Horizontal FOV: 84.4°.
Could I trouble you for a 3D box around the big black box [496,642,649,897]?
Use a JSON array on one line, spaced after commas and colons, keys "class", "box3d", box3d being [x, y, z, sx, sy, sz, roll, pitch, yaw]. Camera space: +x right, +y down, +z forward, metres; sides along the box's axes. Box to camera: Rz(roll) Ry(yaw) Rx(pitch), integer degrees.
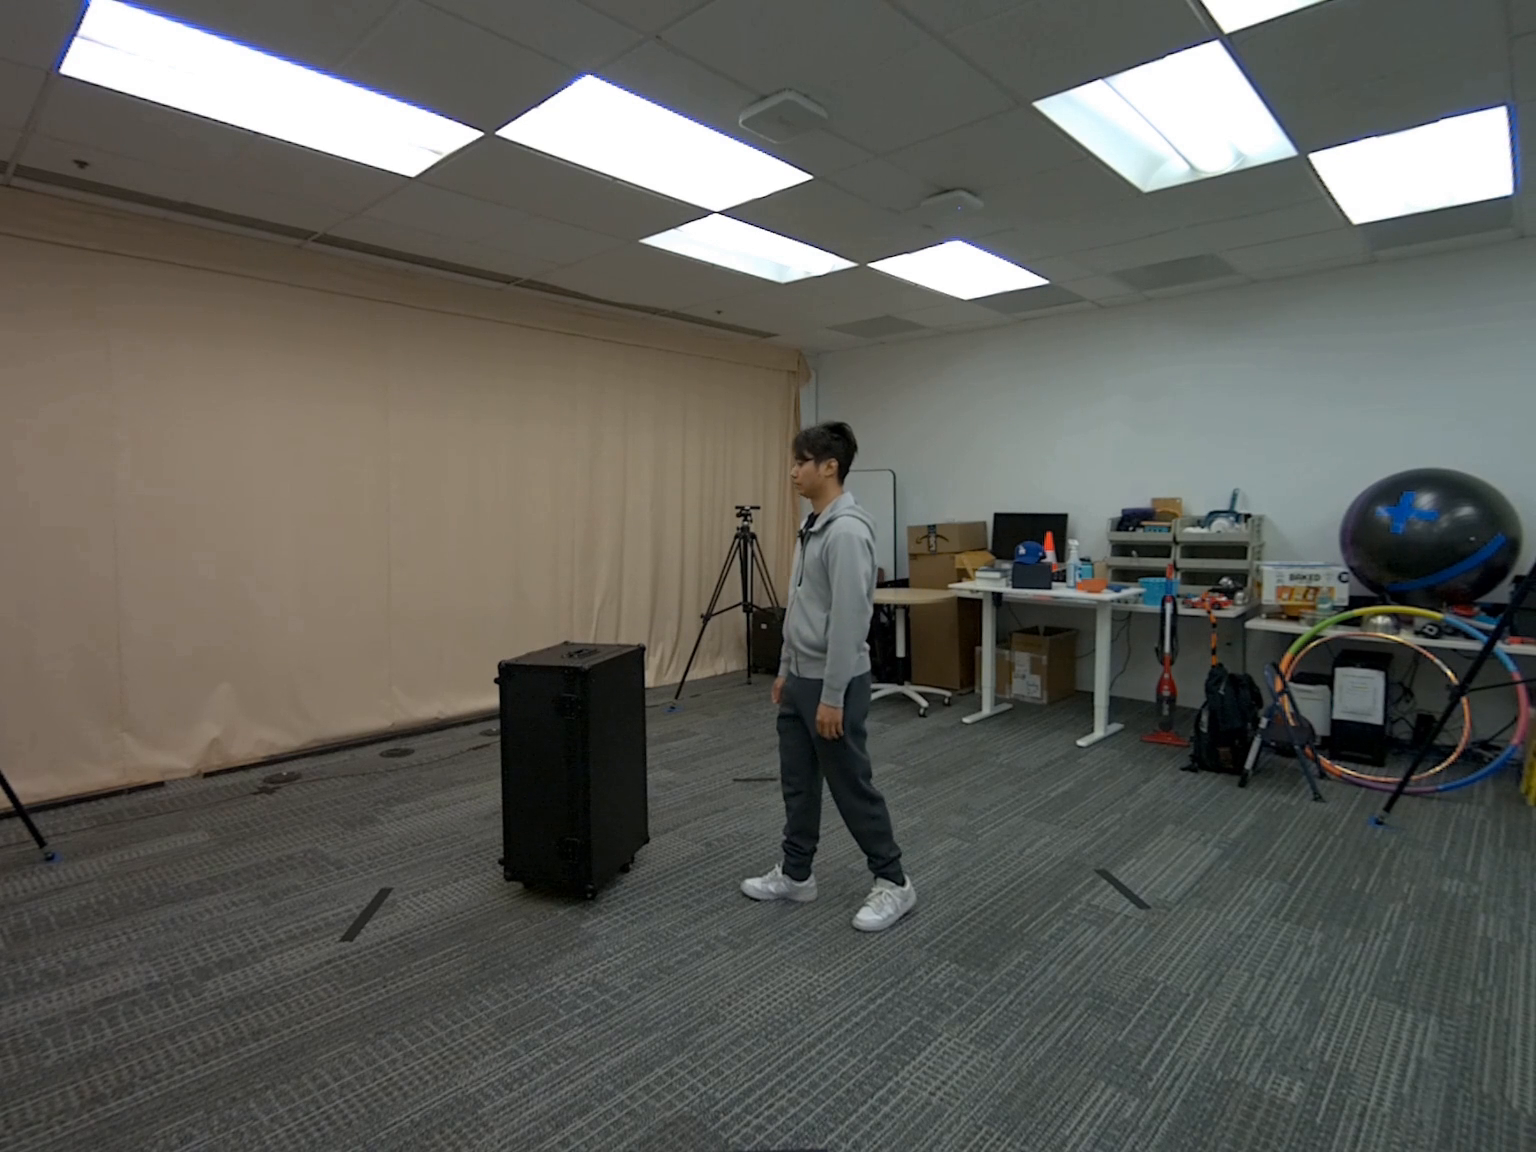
[{"class": "big black box", "box3d": [-0.726, 0.709, 3.151, 0.404, 0.860, 0.512, 0, 2, 18]}]
